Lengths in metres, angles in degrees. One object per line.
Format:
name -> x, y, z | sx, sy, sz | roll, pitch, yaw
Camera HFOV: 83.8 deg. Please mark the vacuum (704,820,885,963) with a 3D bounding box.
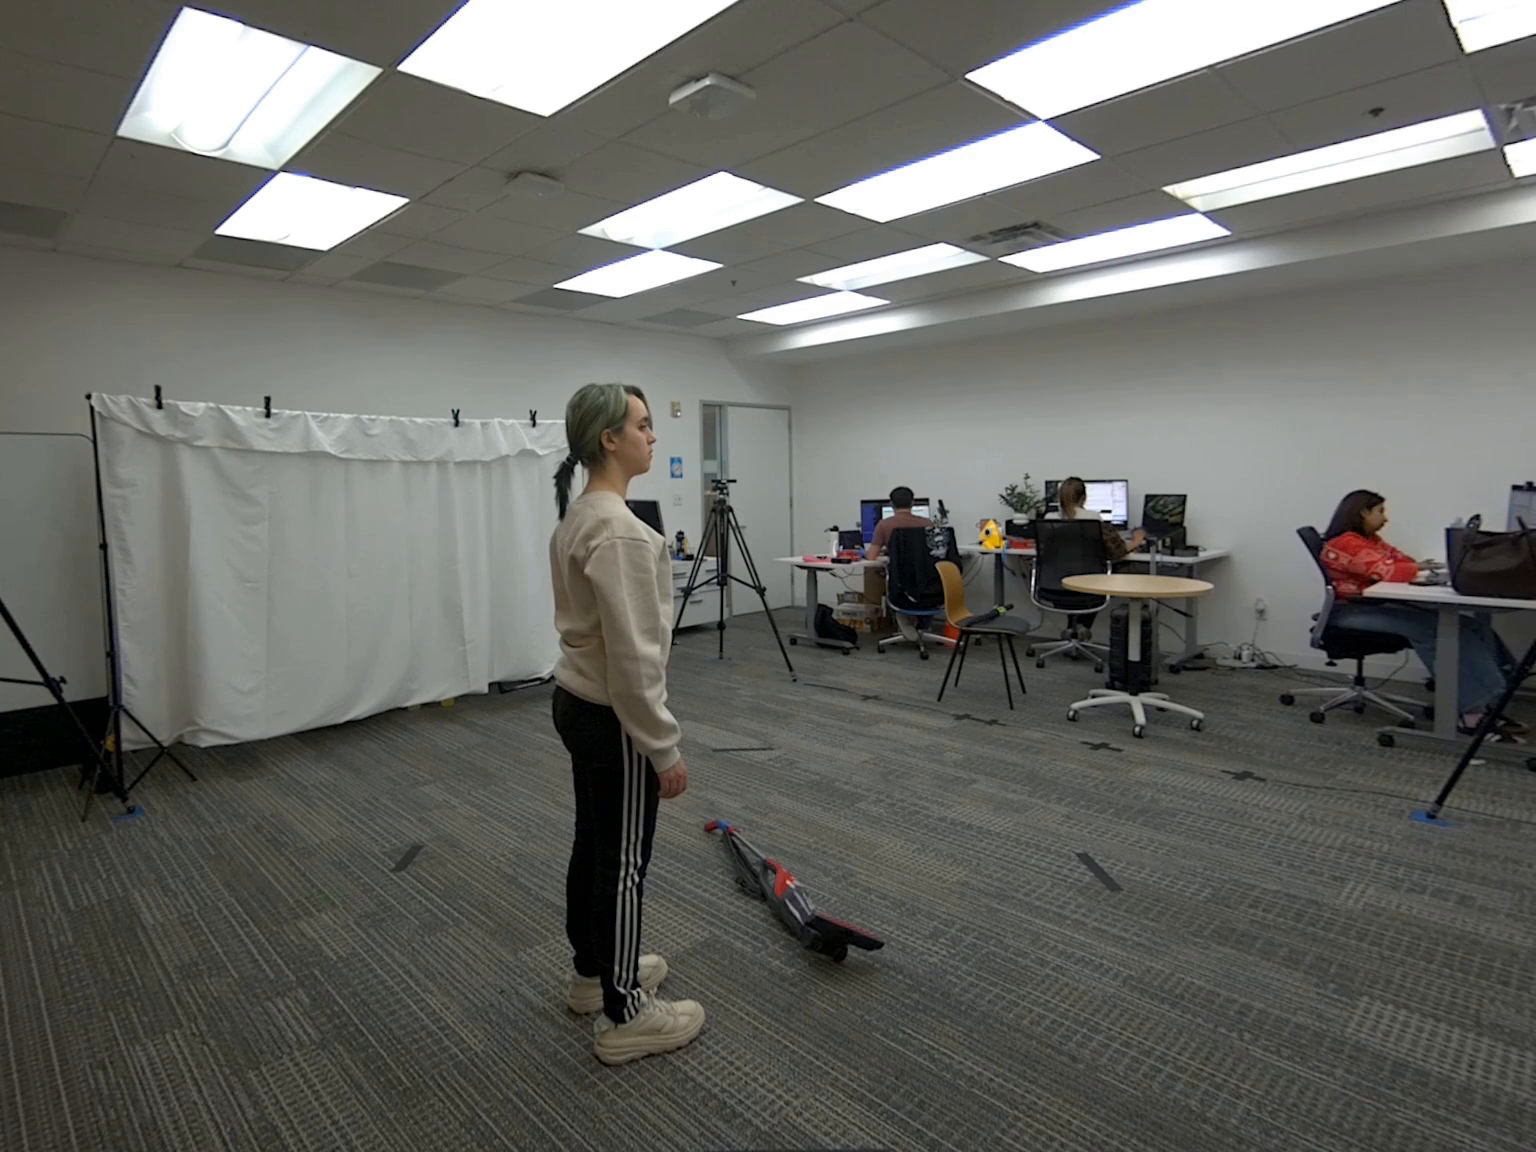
vacuum -> -0.021, 1.021, 2.917 | 0.246, 0.144, 1.070 | 32, -11, -21
